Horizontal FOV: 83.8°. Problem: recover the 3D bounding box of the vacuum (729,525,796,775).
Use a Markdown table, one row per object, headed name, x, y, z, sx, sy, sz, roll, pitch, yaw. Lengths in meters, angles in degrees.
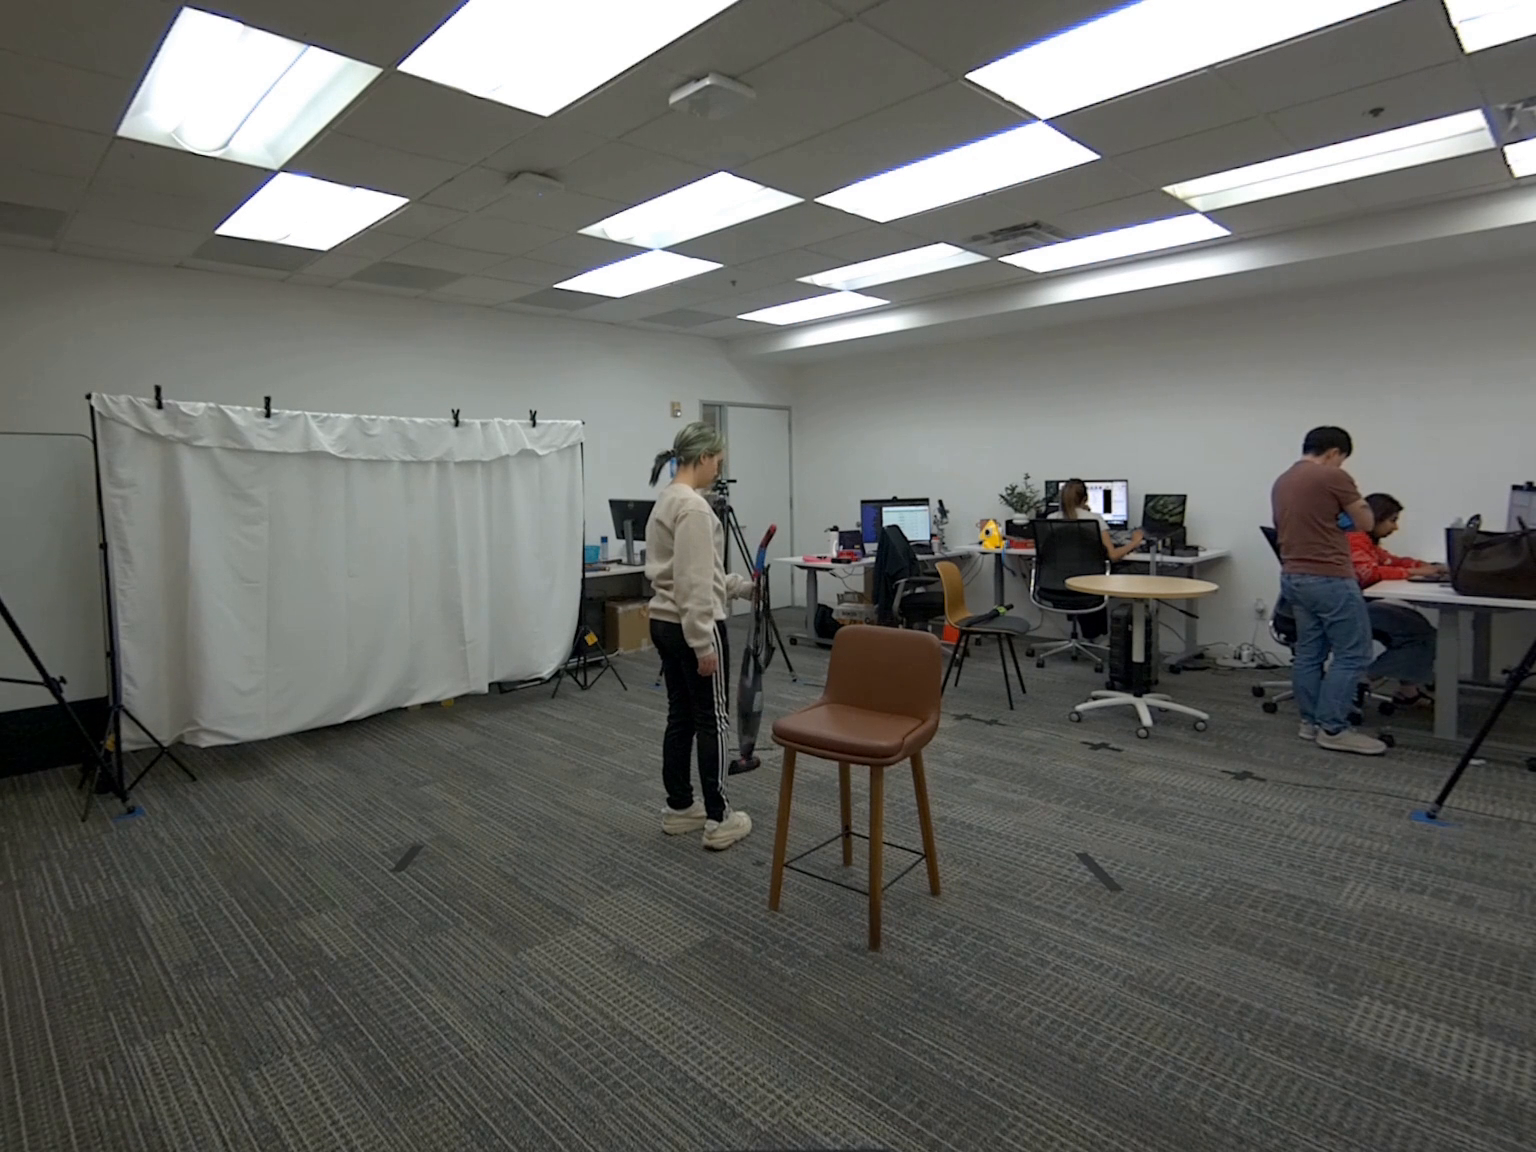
| name | x | y | z | sx | sy | sz | roll | pitch | yaw |
| --- | --- | --- | --- | --- | --- | --- | --- | --- | --- |
| vacuum | -0.054 | 0.323 | 3.608 | 0.149 | 1.045 | 0.245 | 12 | 6 | 42 |
